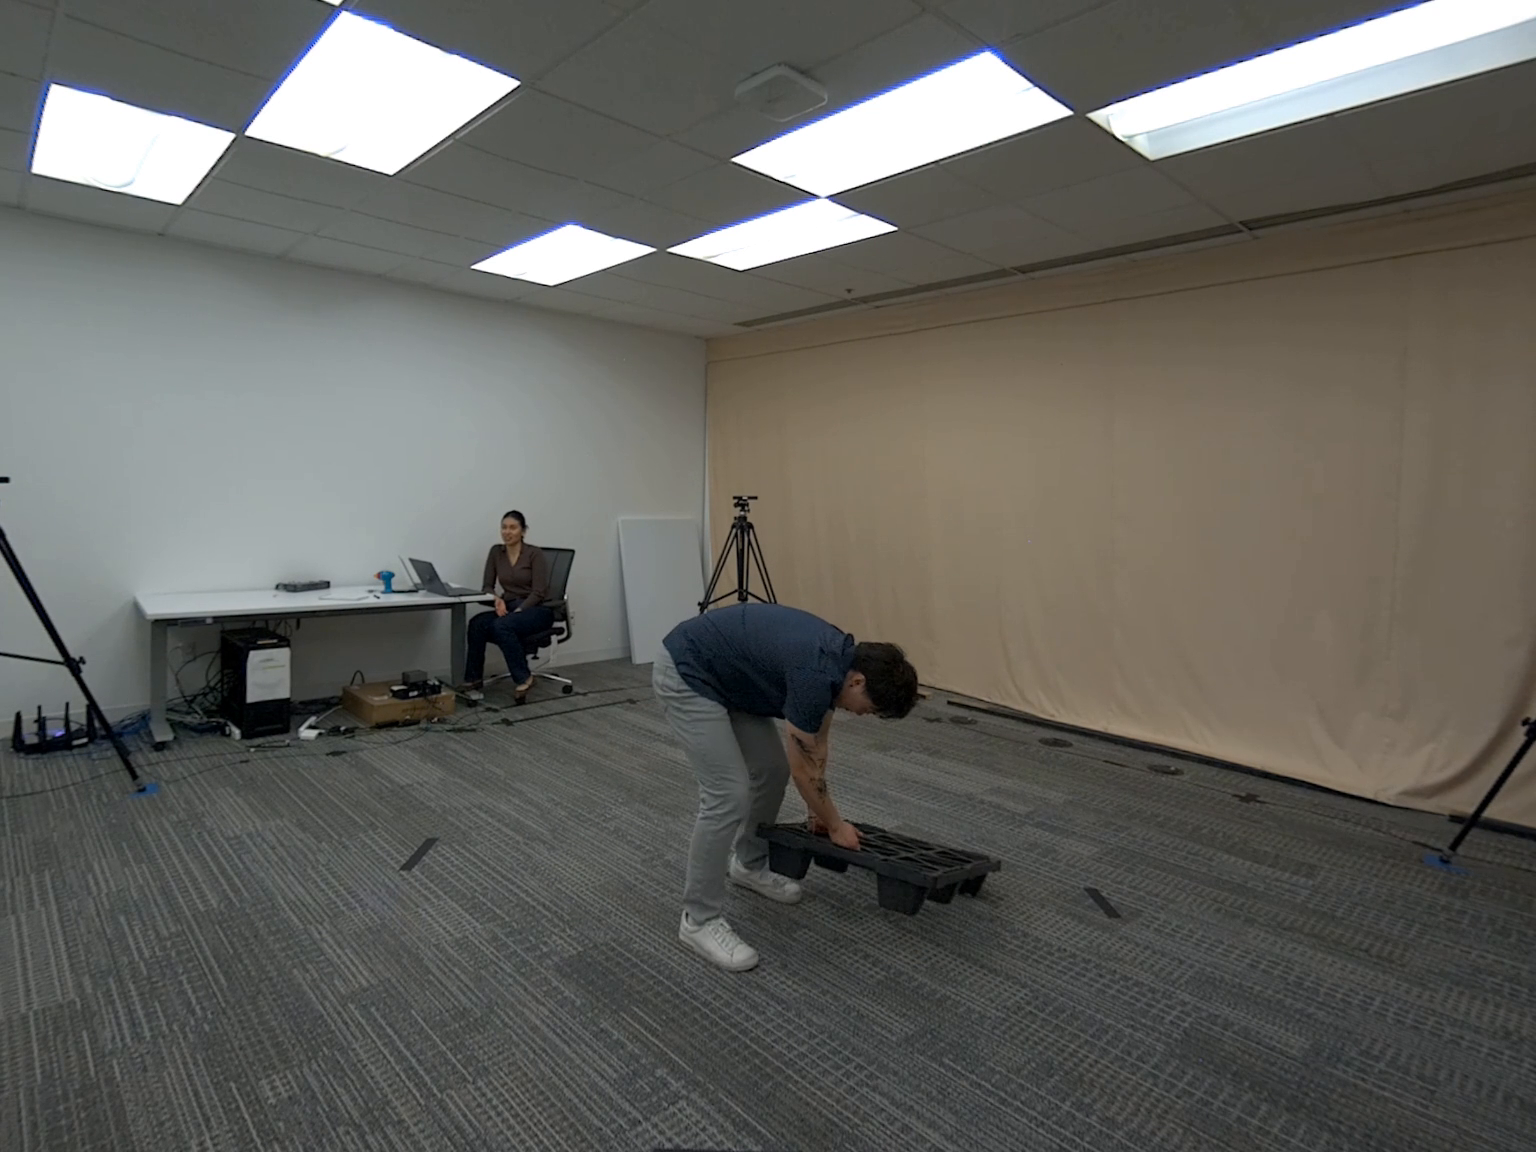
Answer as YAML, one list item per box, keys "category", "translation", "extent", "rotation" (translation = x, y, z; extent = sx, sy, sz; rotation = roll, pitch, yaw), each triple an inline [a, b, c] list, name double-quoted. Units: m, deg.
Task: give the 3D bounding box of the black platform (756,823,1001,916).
- category: "black platform"
  translation: [0.381, 0.975, 2.833]
  extent: [0.619, 0.144, 0.782]
  rotation: [5, -11, 31]
